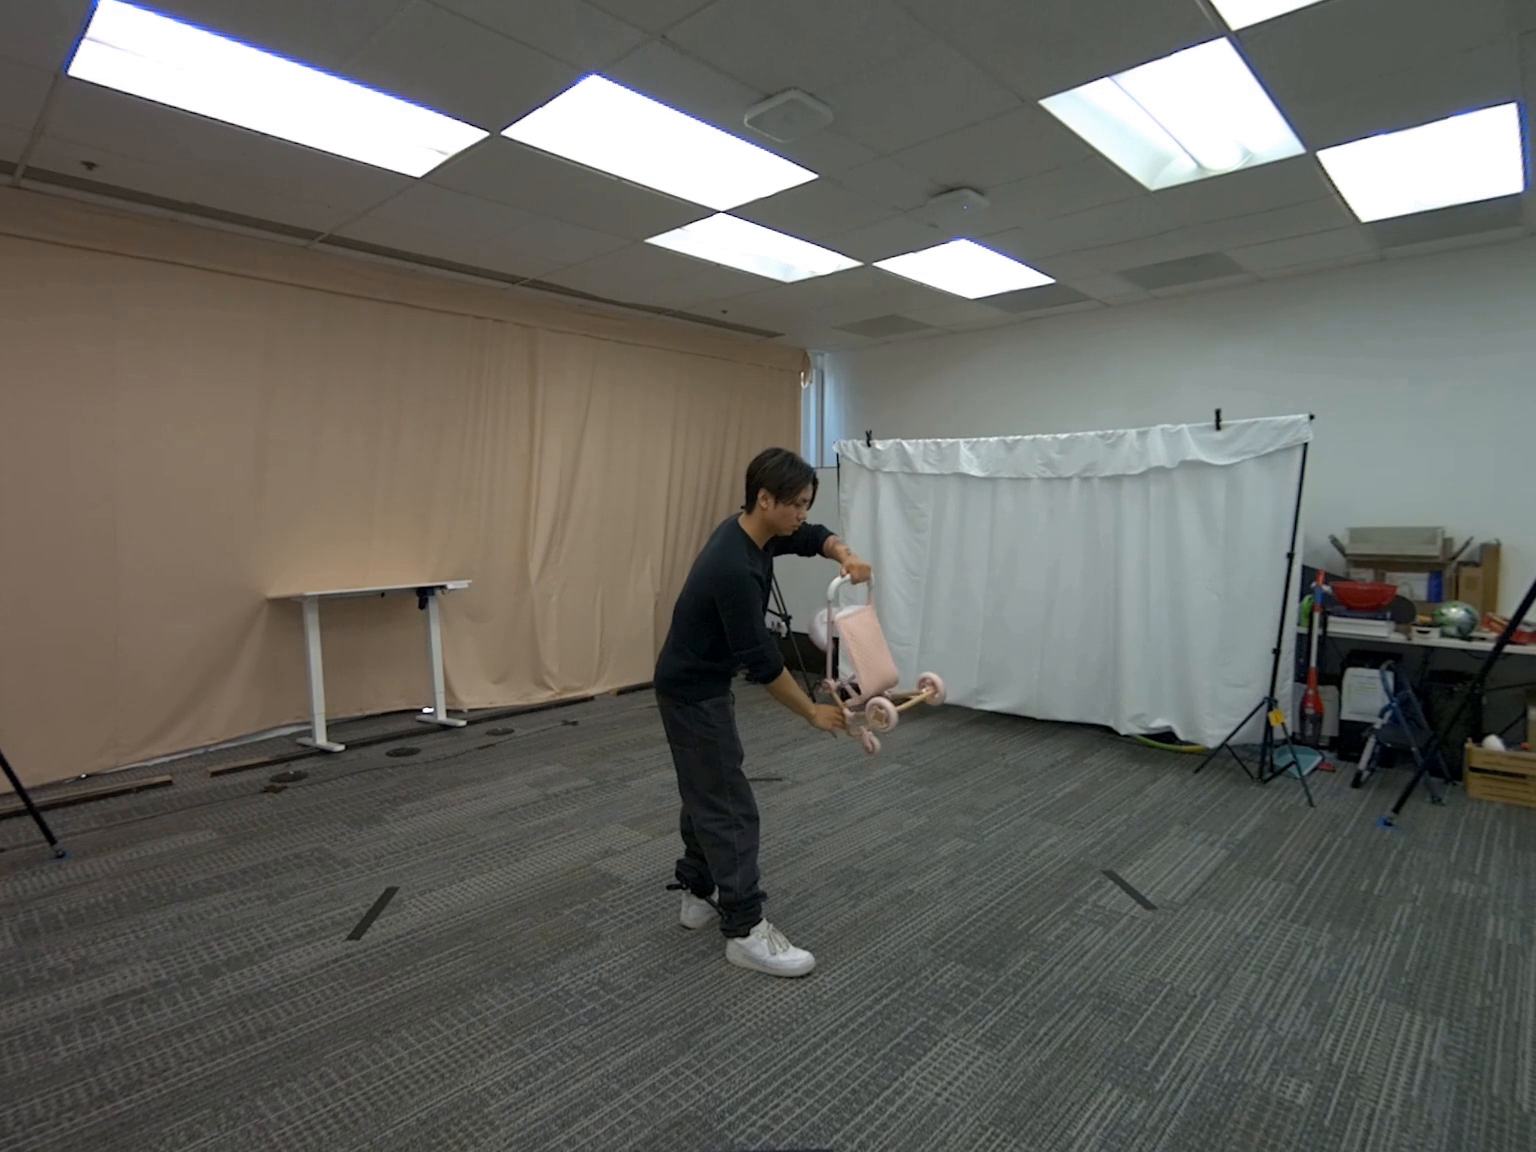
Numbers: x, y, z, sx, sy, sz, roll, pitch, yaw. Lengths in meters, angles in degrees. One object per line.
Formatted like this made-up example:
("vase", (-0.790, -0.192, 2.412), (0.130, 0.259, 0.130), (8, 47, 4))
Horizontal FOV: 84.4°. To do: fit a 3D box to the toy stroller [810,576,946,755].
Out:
("toy stroller", (0.311, 0.305, 2.693), (0.275, 0.542, 0.345), (-20, -14, -36))
